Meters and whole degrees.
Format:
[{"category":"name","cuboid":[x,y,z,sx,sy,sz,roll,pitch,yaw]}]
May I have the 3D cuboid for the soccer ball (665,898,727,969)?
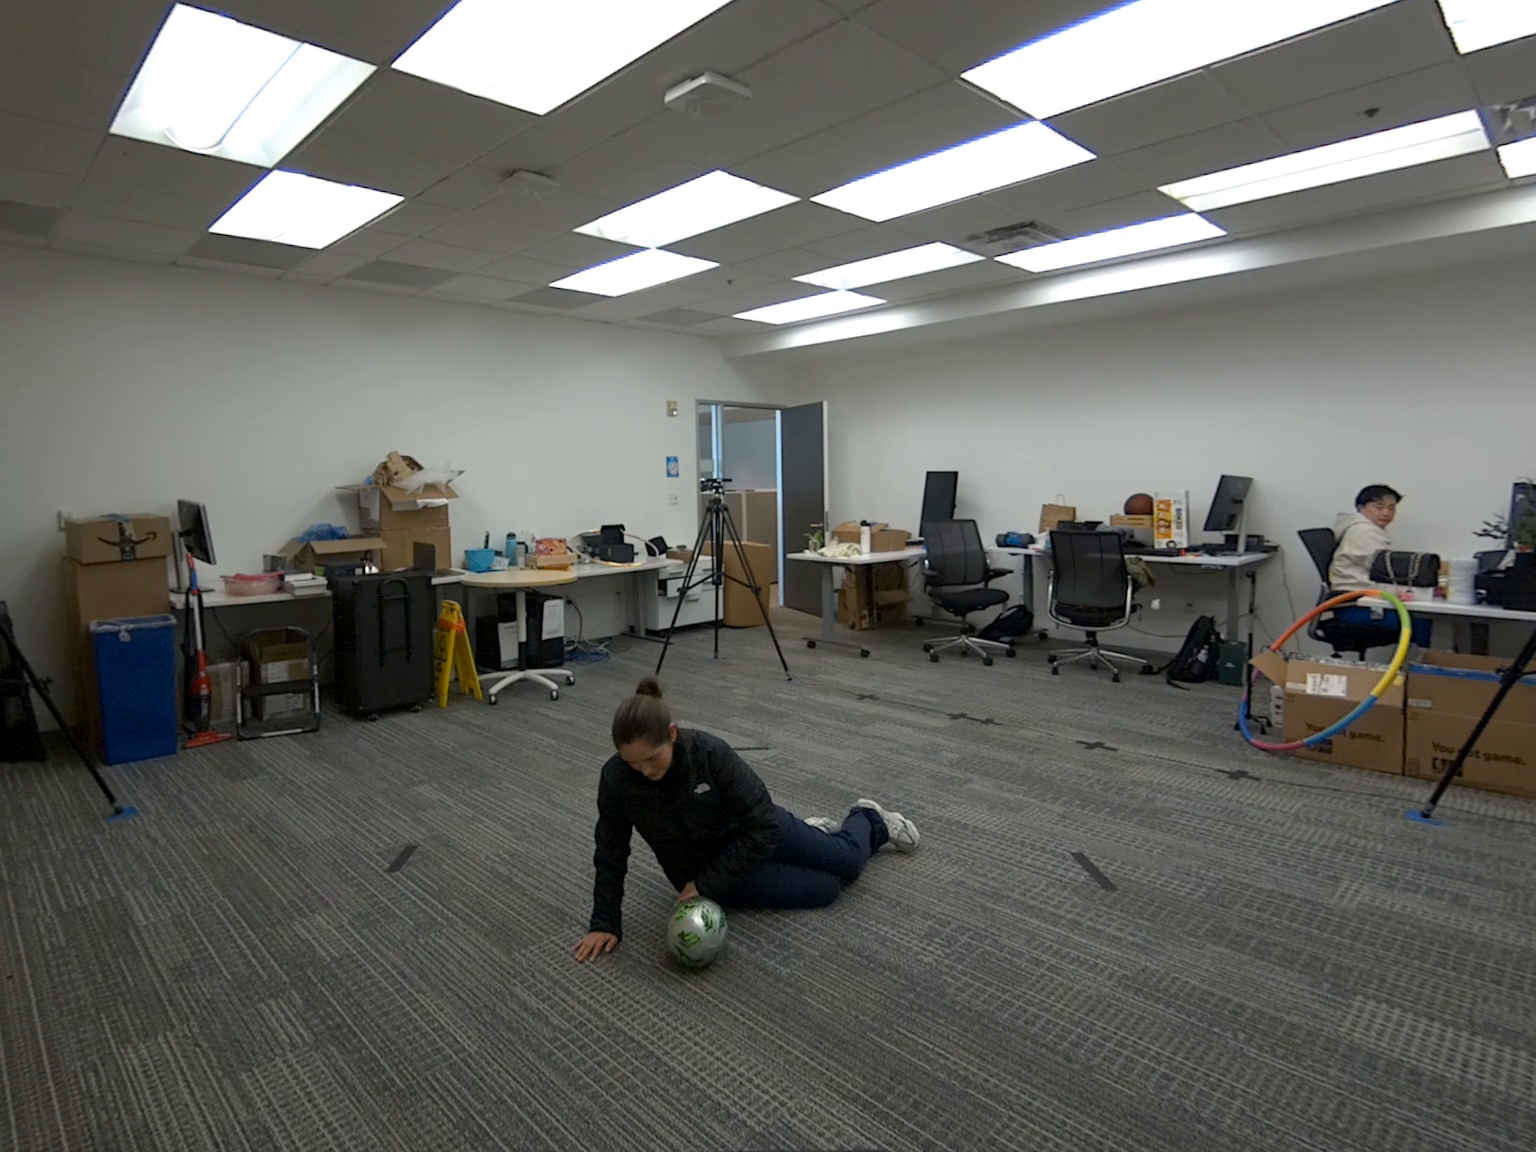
[{"category":"soccer ball","cuboid":[-0.202,1.036,2.474,0.187,0.187,0.188,-1,5,-2]}]
